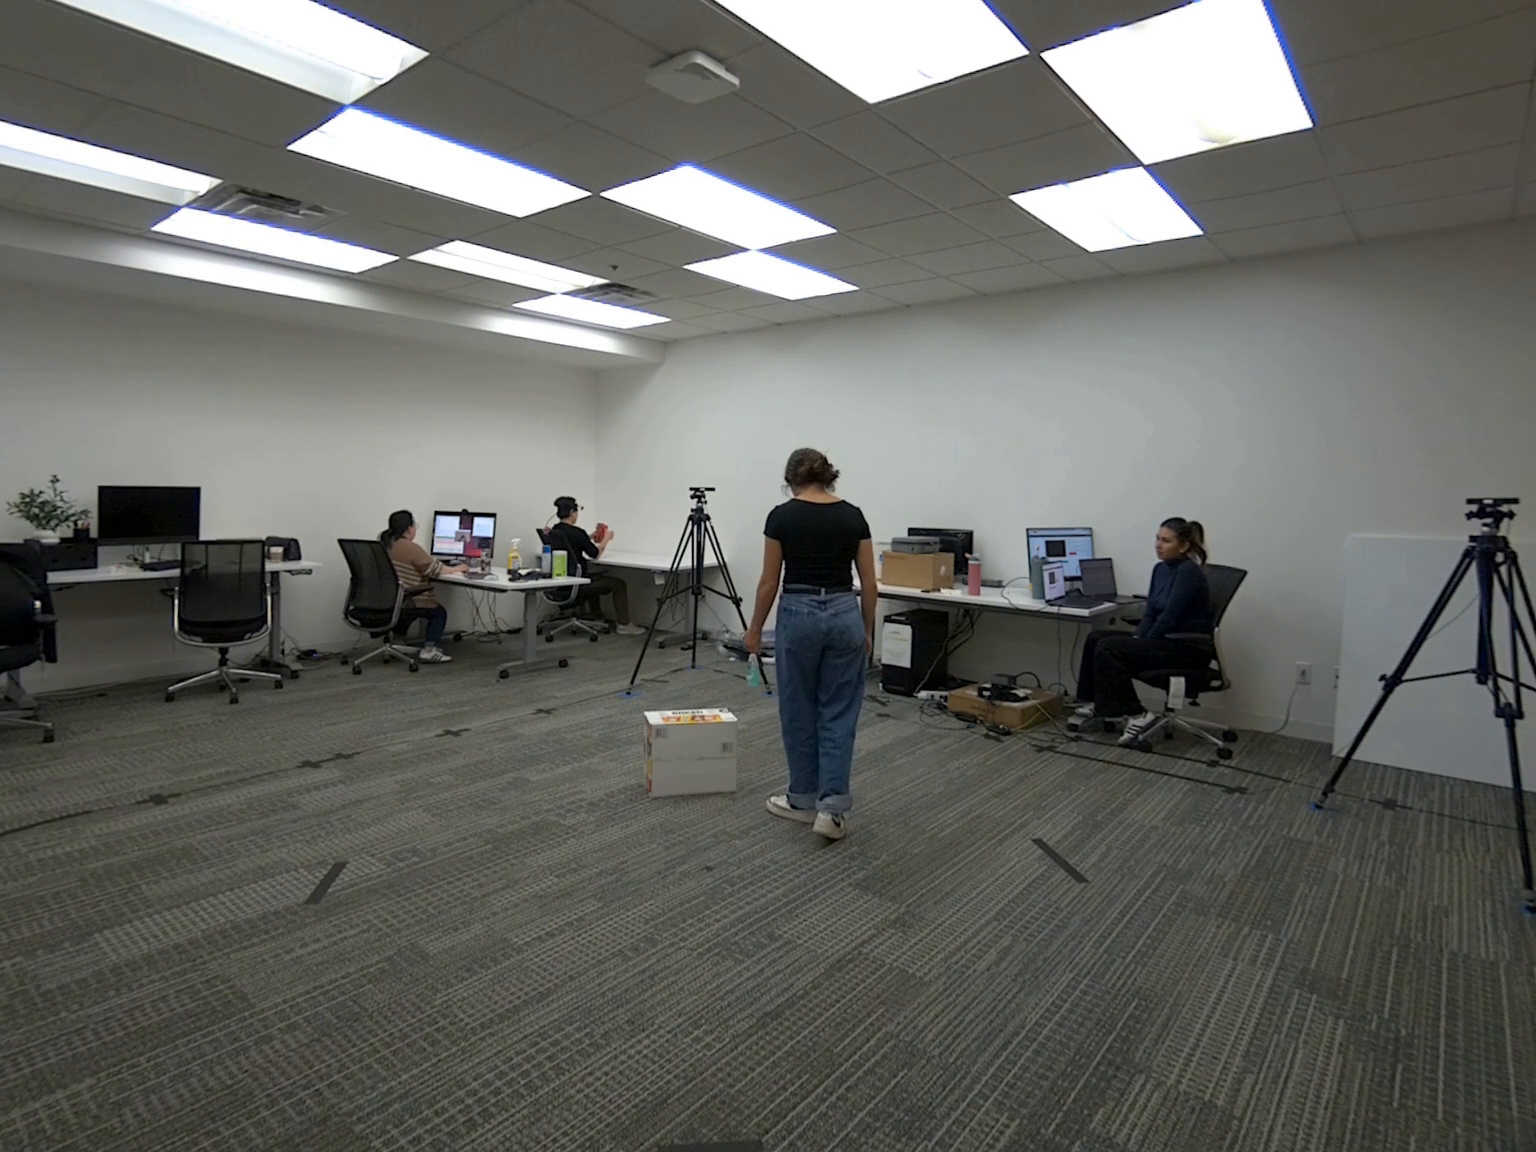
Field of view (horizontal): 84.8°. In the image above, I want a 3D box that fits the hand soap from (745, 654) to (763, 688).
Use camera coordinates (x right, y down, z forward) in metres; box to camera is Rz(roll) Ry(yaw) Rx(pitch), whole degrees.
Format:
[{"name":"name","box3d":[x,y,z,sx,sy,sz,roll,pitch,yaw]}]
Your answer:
[{"name":"hand soap","box3d":[-0.084,0.384,3.682,0.042,0.168,0.087,-1,3,-27]}]
